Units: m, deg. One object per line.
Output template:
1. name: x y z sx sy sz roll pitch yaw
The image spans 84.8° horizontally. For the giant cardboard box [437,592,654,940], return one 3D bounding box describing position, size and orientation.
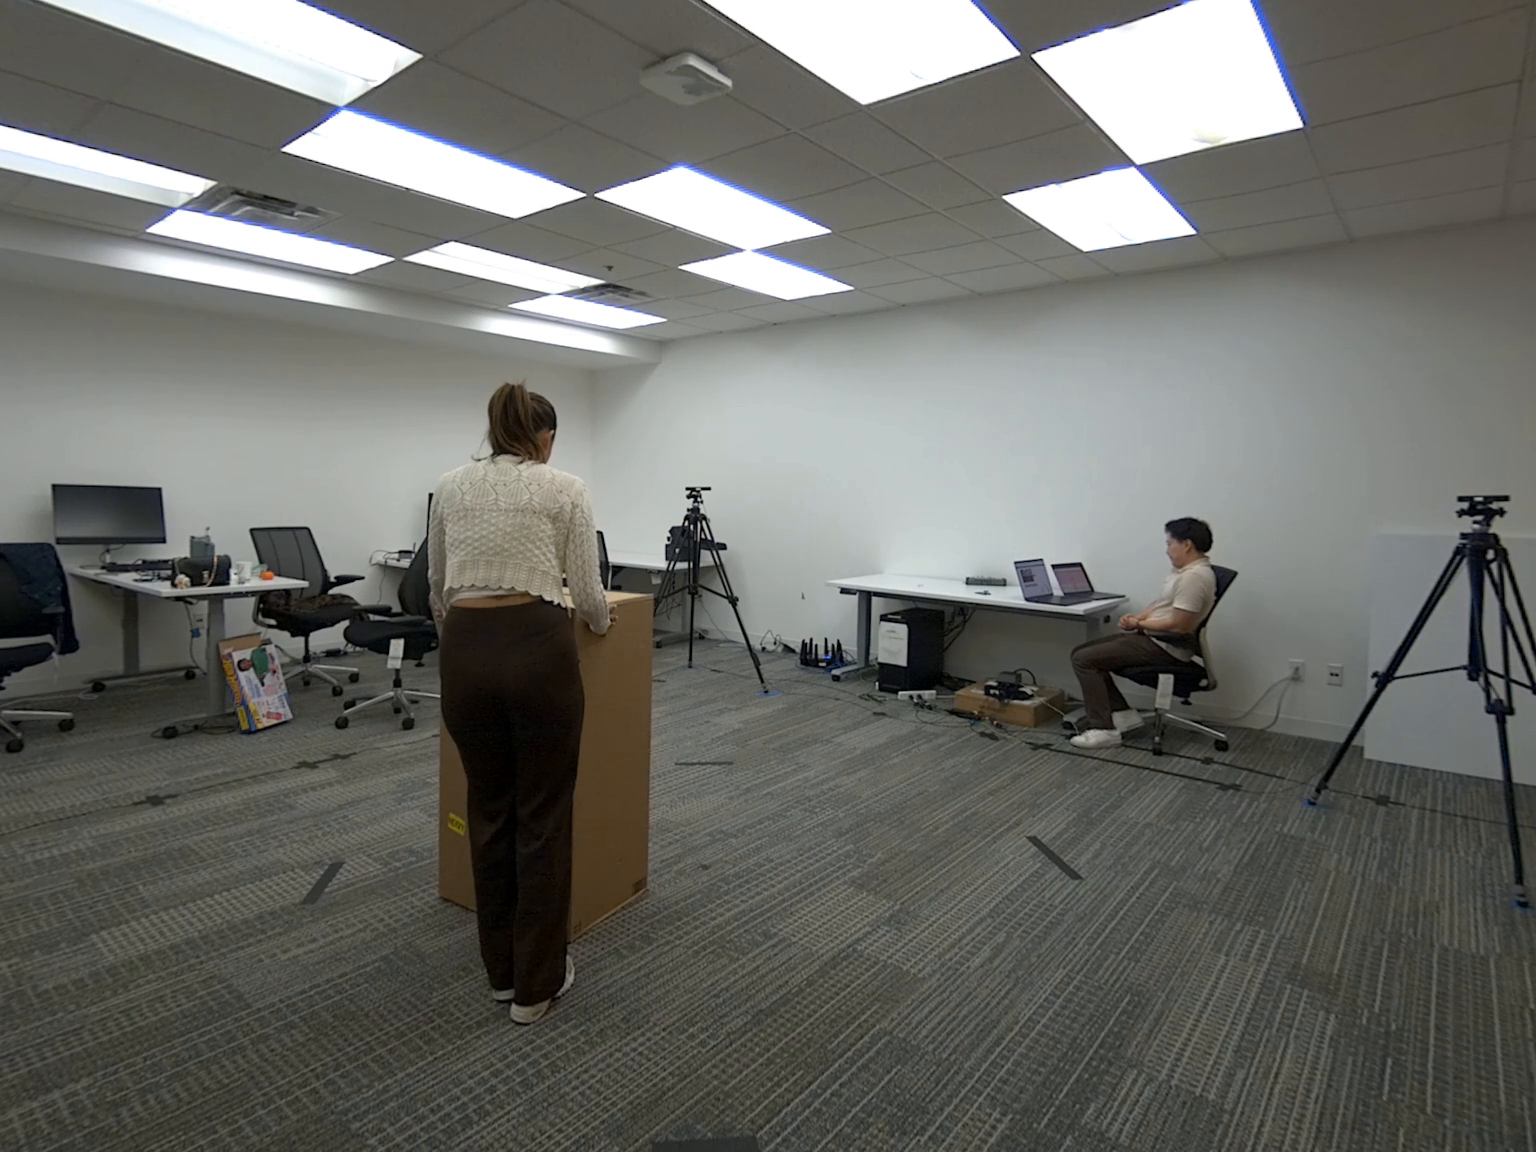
1. giant cardboard box: -0.759 0.574 2.873 0.594 1.023 0.415 3 3 29
